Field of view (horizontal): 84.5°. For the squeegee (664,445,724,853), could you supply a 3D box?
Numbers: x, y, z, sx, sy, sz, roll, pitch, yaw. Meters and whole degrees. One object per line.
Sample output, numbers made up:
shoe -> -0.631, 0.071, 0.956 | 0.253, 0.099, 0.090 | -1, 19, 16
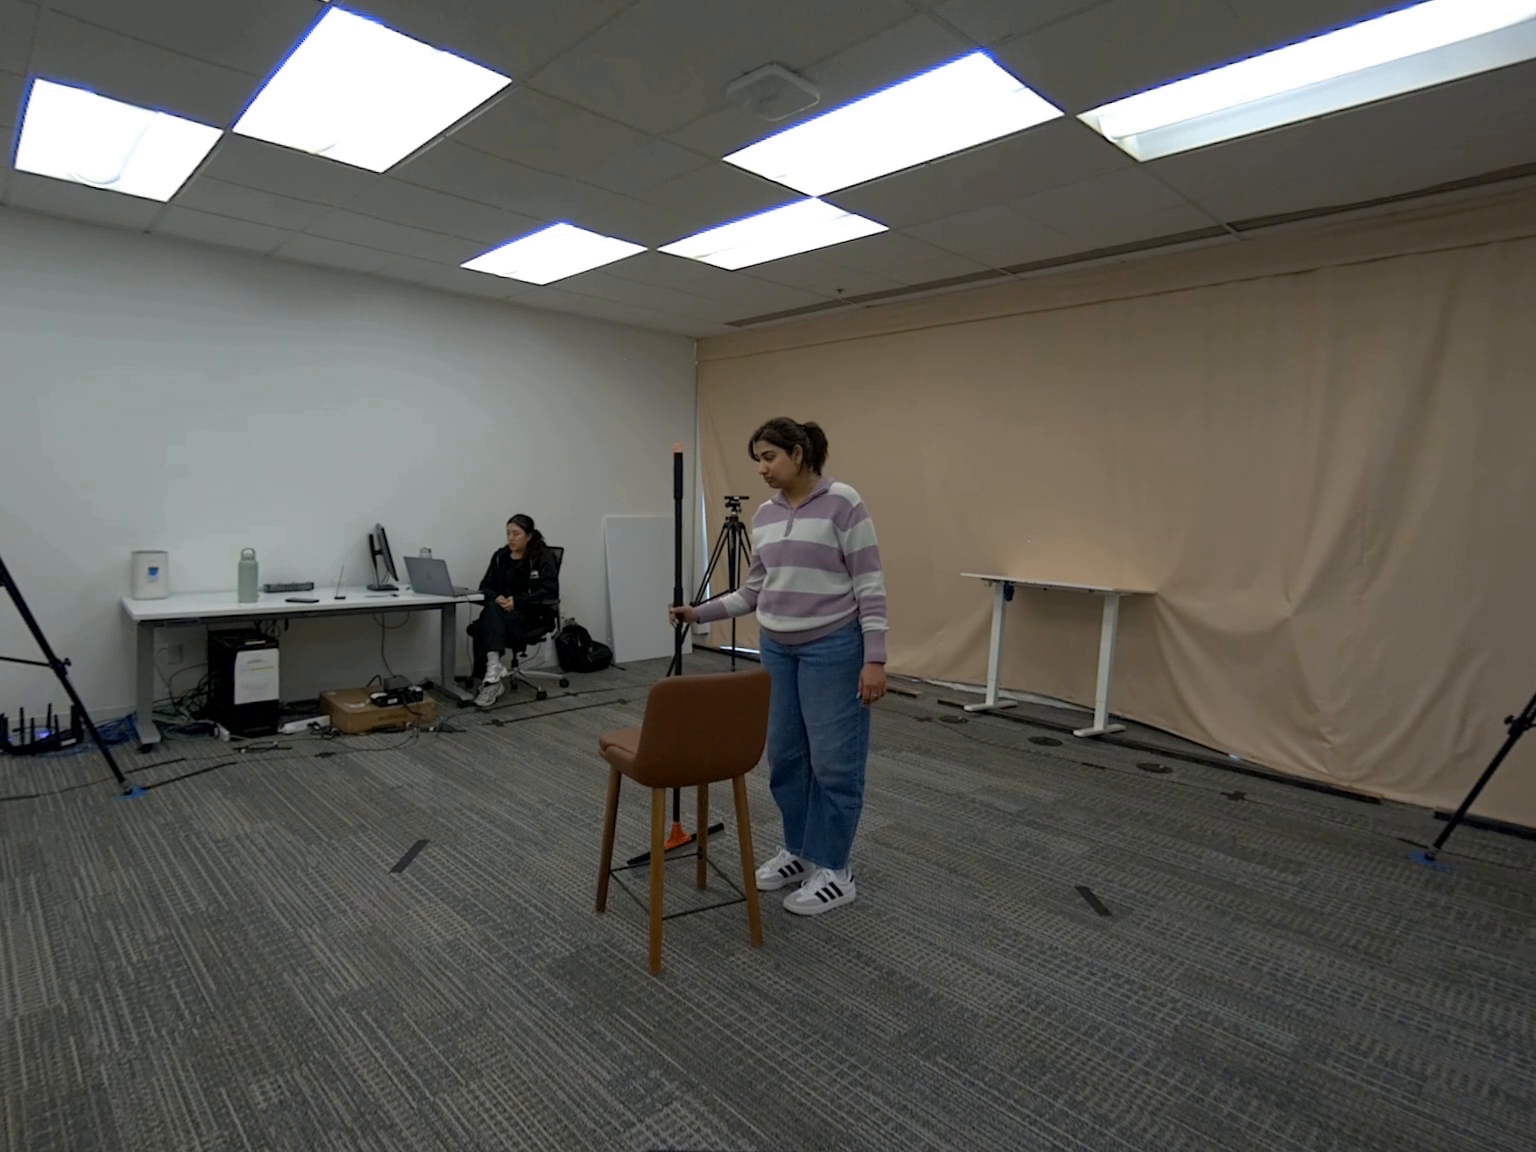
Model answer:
squeegee -> -0.327, 0.288, 3.034 | 0.429, 1.524, 0.054 | -7, 14, -34
